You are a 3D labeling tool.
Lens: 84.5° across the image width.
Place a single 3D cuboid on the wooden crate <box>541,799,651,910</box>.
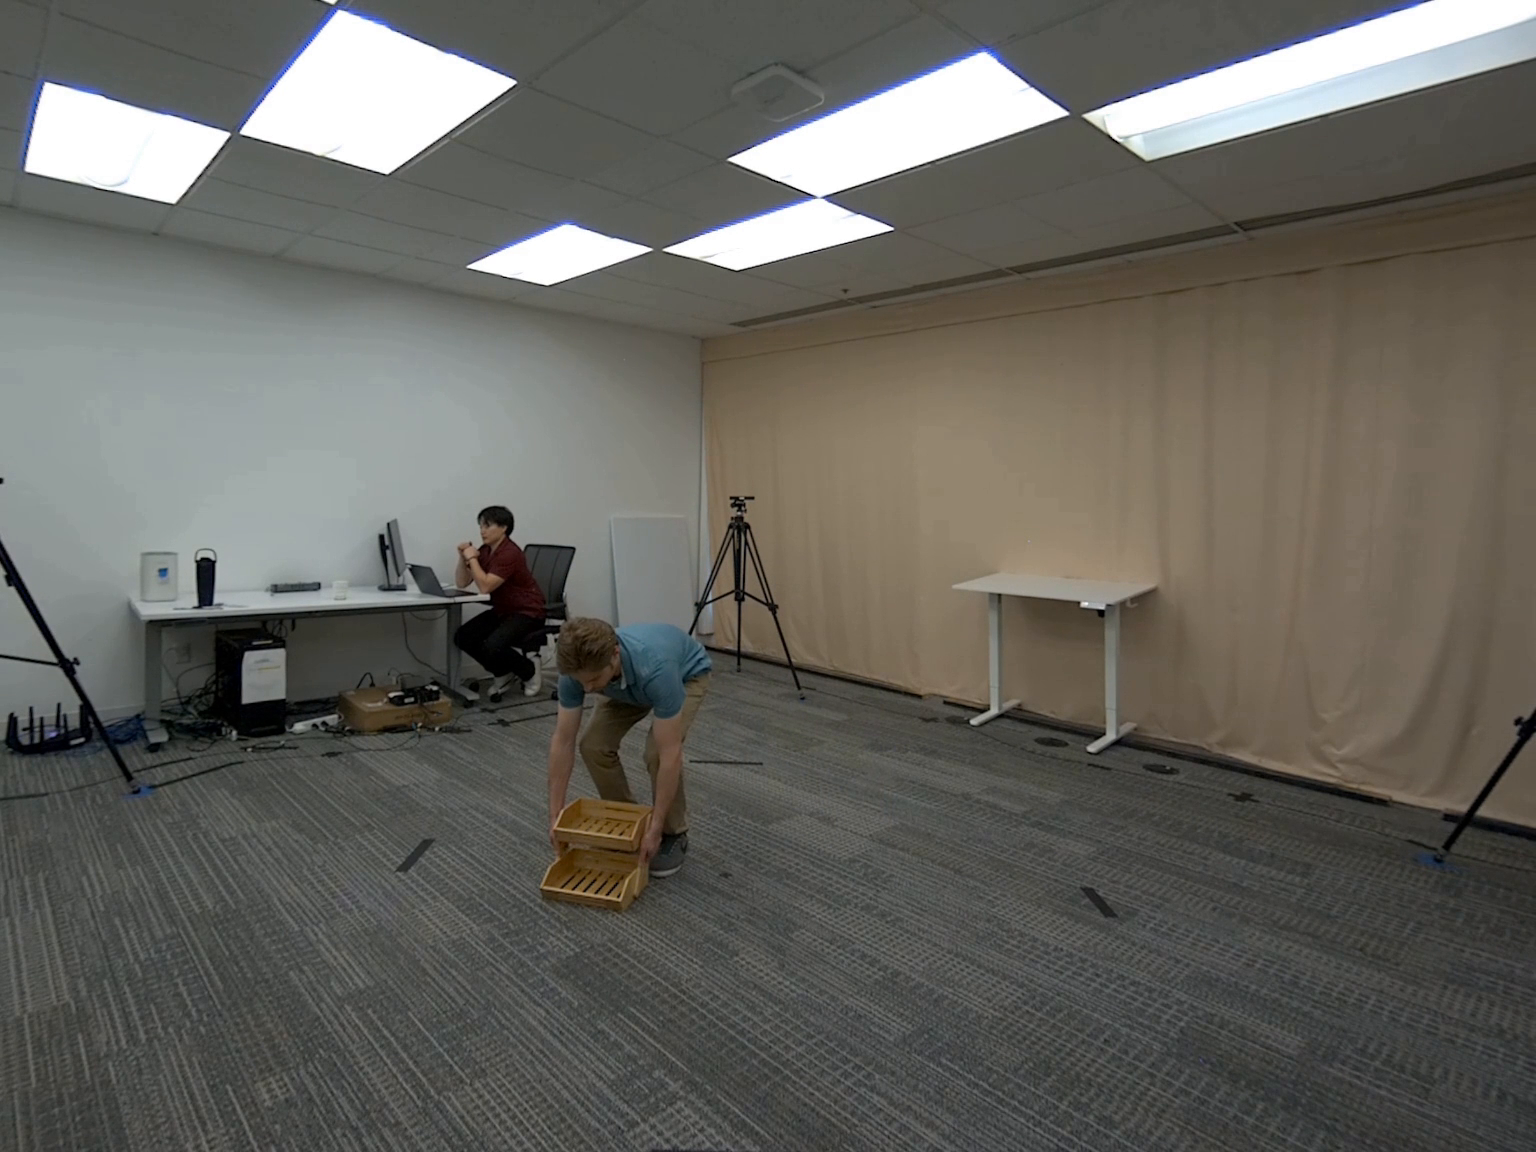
[{"bbox_3d":[-0.607,0.980,2.970,0.328,0.273,0.299,2,4,14],"label":"wooden crate"}]
